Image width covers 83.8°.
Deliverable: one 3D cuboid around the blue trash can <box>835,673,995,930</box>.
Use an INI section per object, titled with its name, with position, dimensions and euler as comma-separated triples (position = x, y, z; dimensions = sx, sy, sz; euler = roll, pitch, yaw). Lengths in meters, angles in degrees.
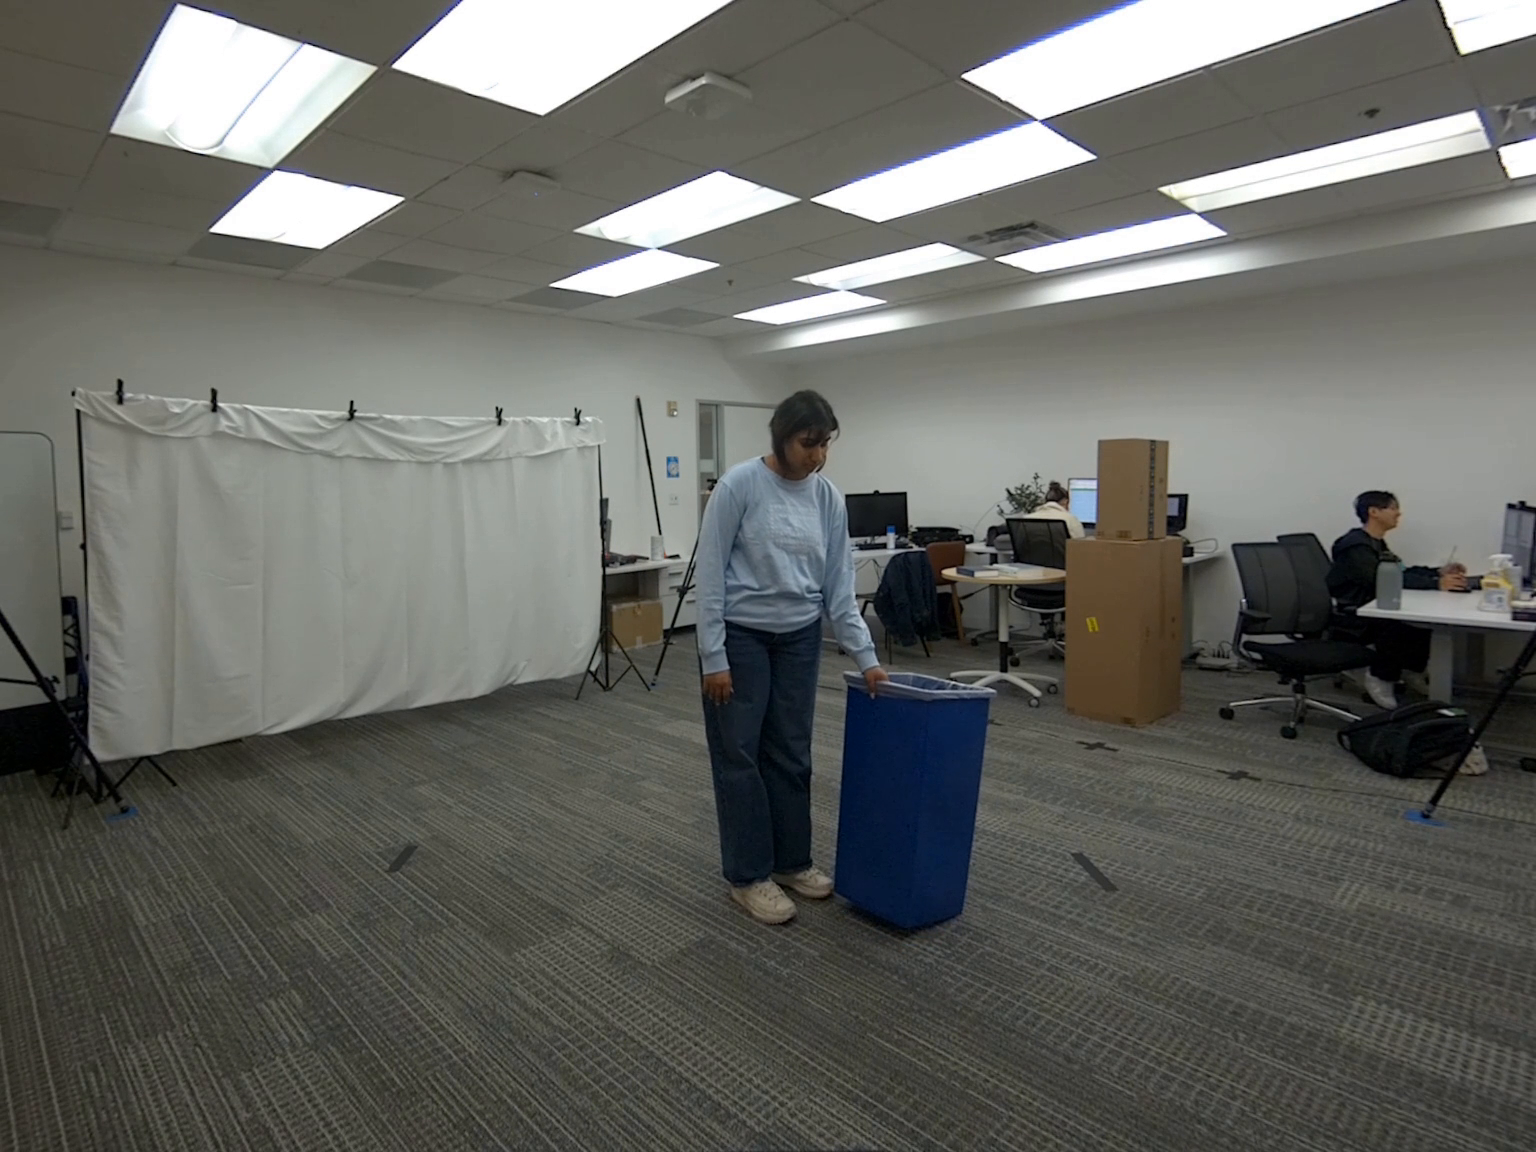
[blue trash can]
position = 0.455, 0.696, 2.763
dimensions = 0.362, 0.715, 0.389
euler = 8, -4, -41
